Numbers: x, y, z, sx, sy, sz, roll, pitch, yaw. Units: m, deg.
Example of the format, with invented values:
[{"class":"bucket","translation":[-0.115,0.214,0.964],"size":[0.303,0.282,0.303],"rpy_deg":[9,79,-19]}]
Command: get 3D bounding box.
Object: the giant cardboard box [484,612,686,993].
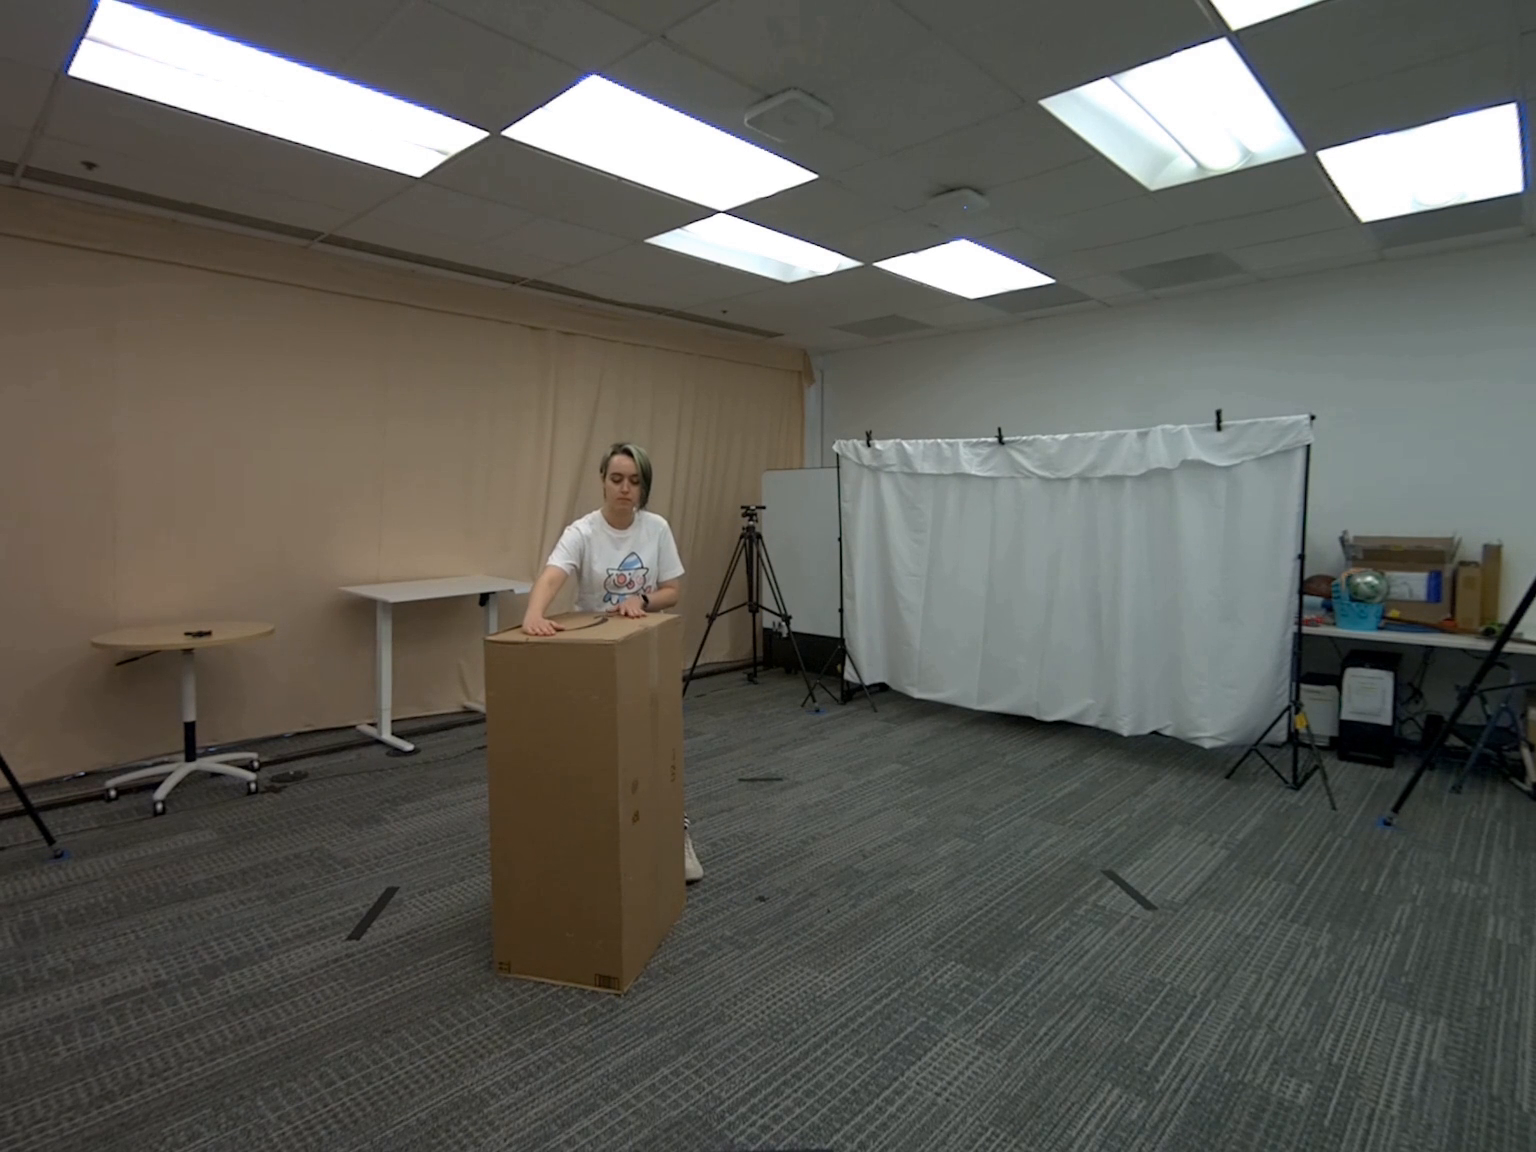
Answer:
[{"class":"giant cardboard box","translation":[-0.555,0.661,2.703],"size":[0.454,1.025,0.576],"rpy_deg":[1,3,14]}]
